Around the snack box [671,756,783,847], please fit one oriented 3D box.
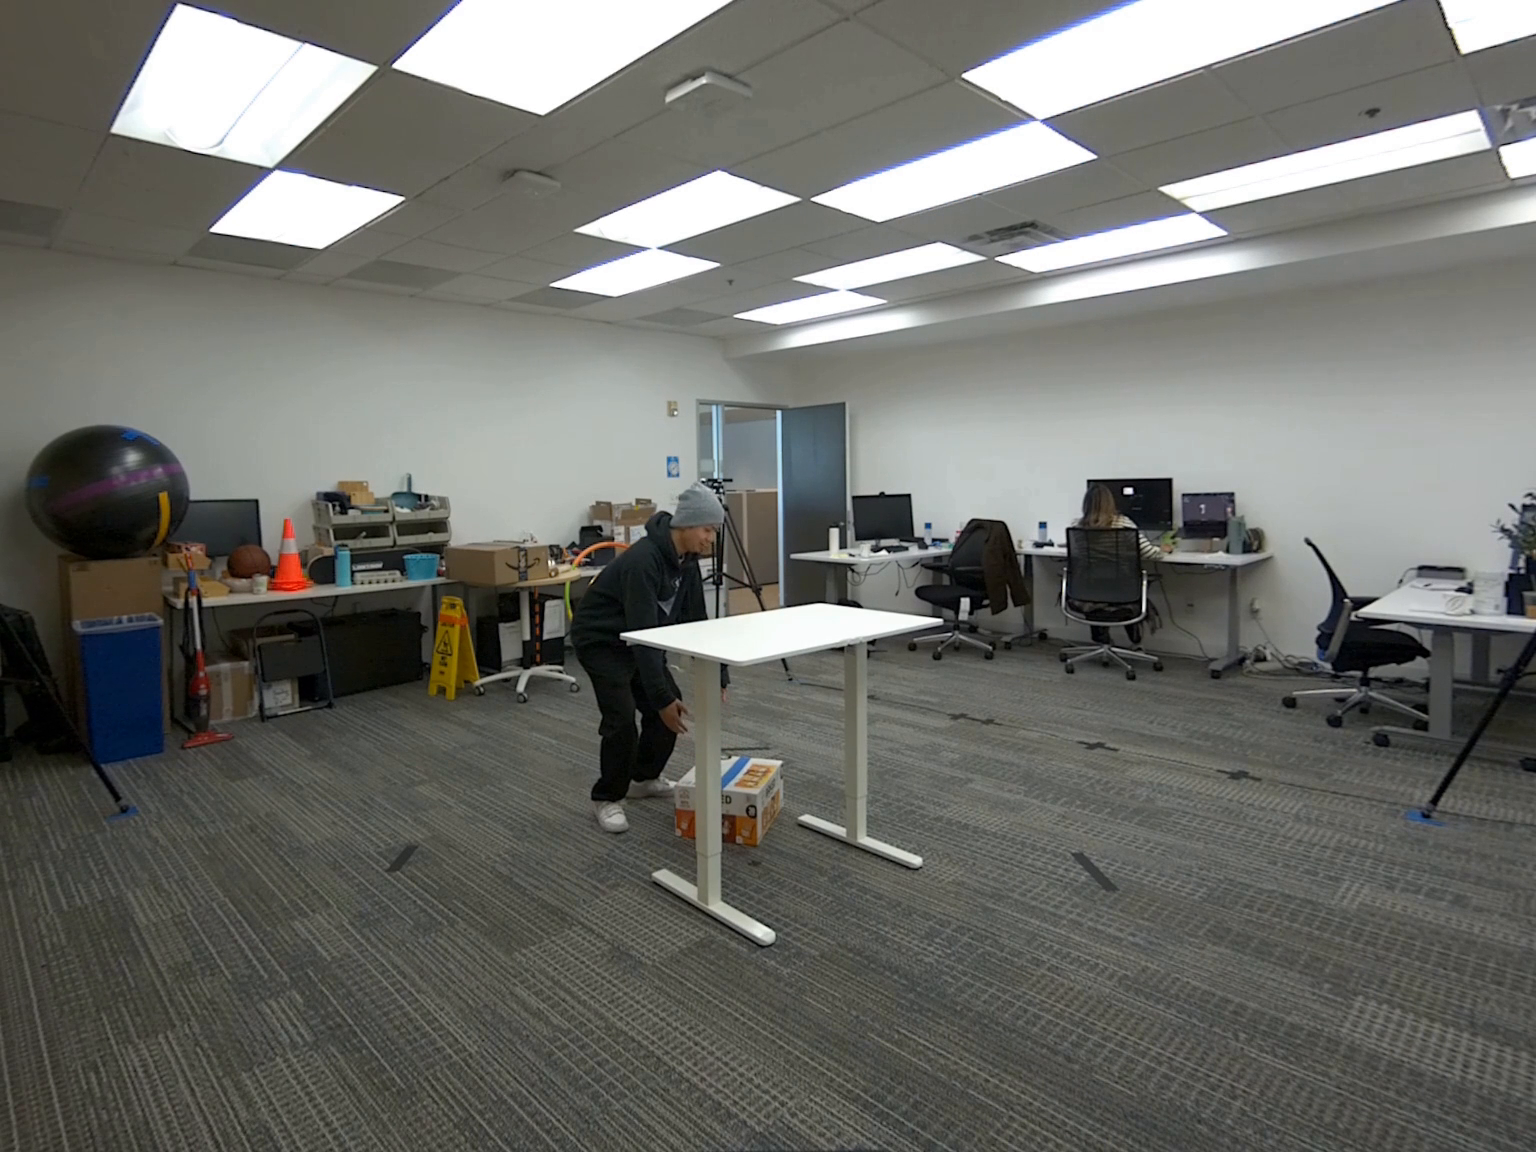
[{"bbox_3d":[-0.149,0.904,3.488,0.346,0.205,0.400,1,6,17],"label":"snack box"}]
